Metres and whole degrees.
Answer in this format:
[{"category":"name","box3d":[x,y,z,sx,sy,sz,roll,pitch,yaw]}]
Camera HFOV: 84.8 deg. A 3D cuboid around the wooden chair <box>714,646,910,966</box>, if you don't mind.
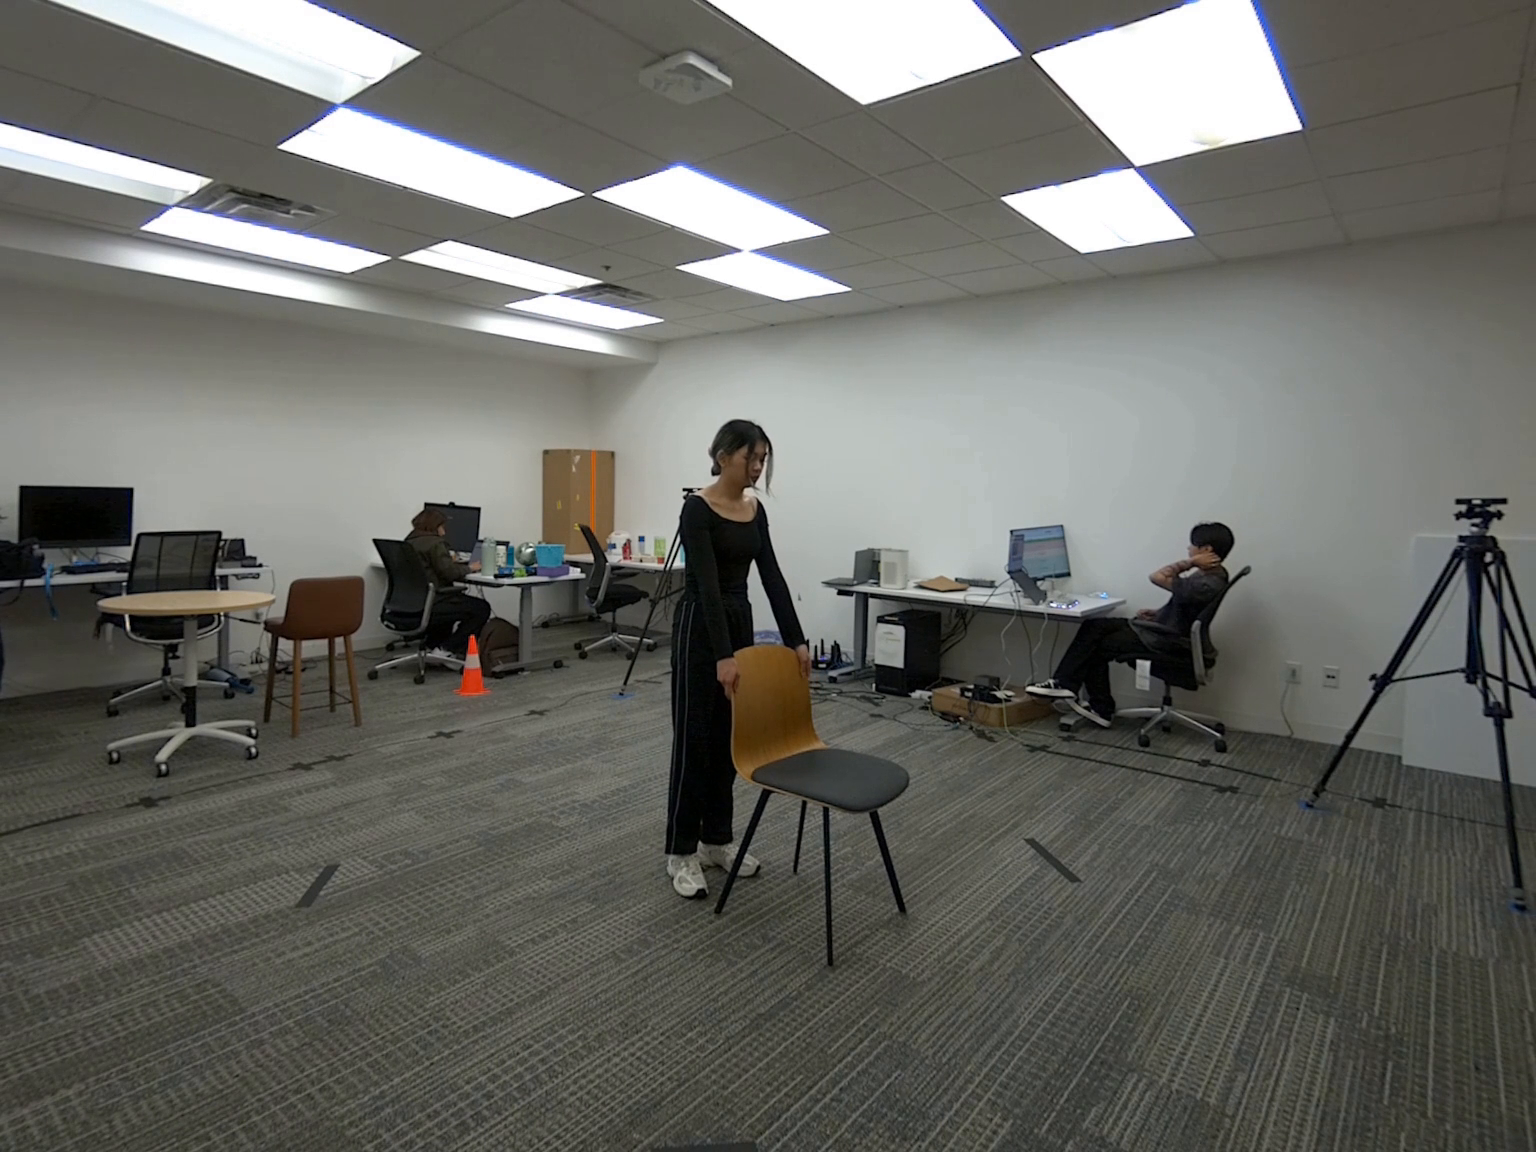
[{"category":"wooden chair","box3d":[0.157,0.685,2.766,0.539,0.877,0.464,-2,0,40]}]
